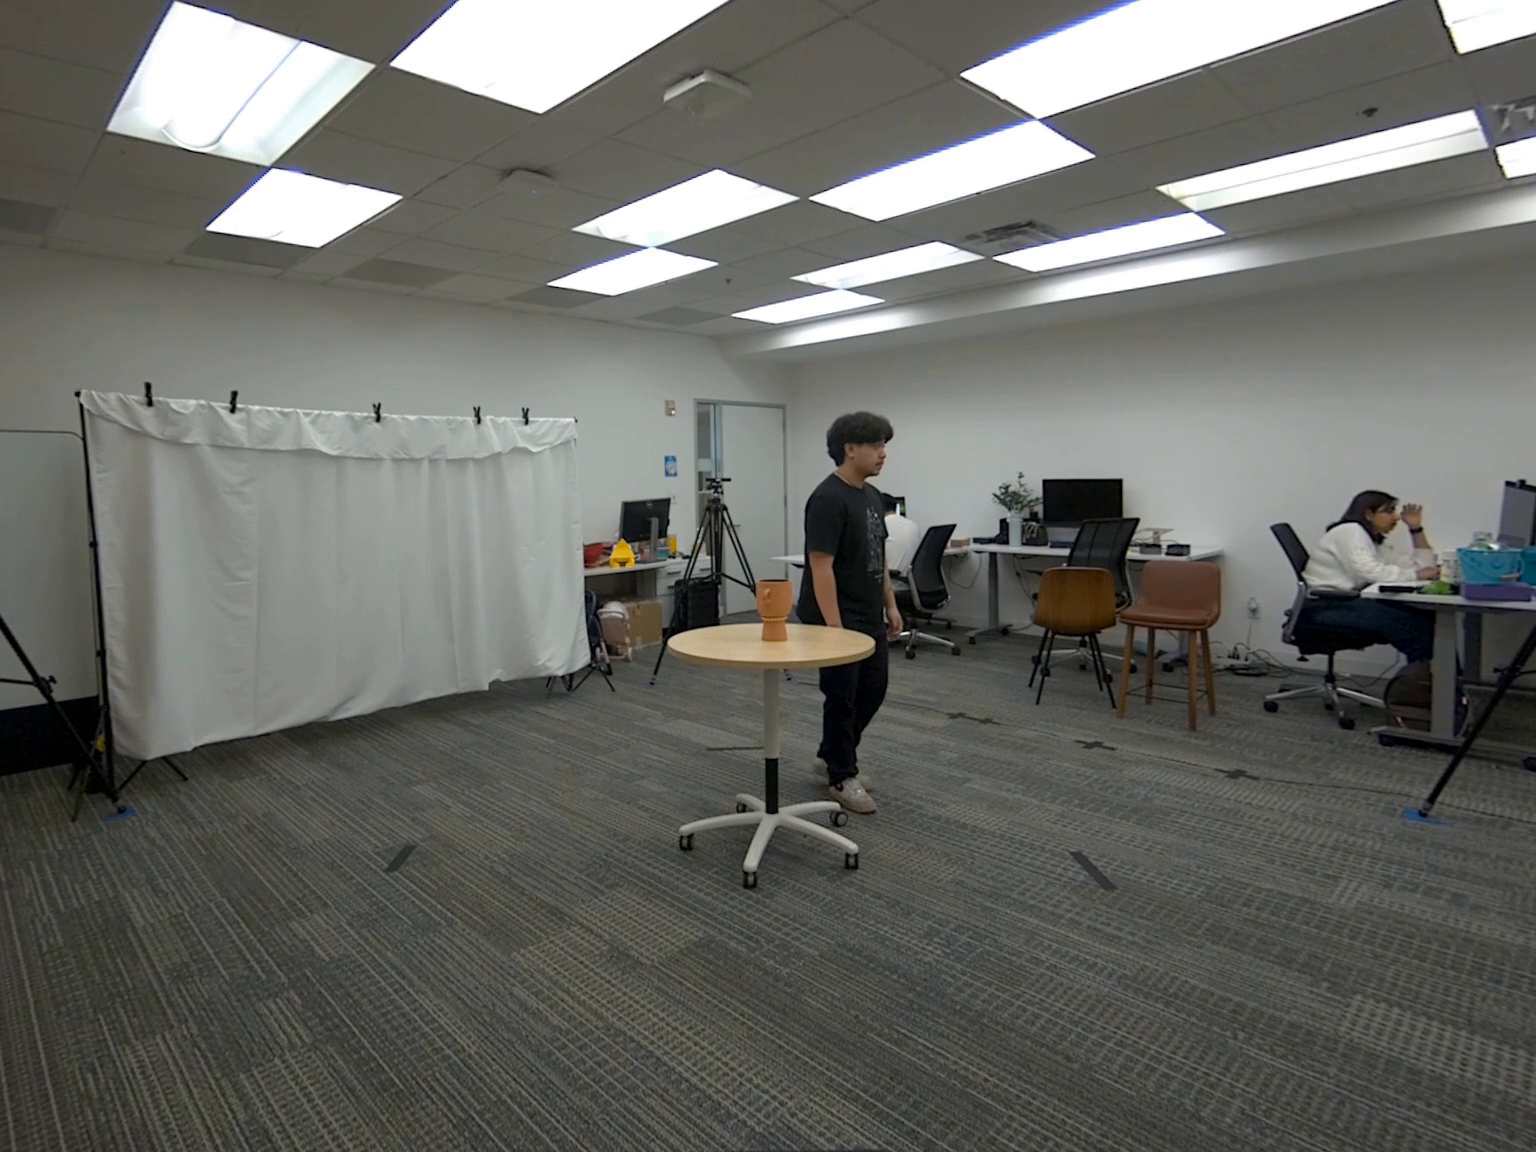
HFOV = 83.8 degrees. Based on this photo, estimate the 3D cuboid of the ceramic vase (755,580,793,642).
[{"bbox_3d":[0.026,0.129,3.191,0.155,0.219,0.138,-3,4,-27],"label":"ceramic vase"}]
